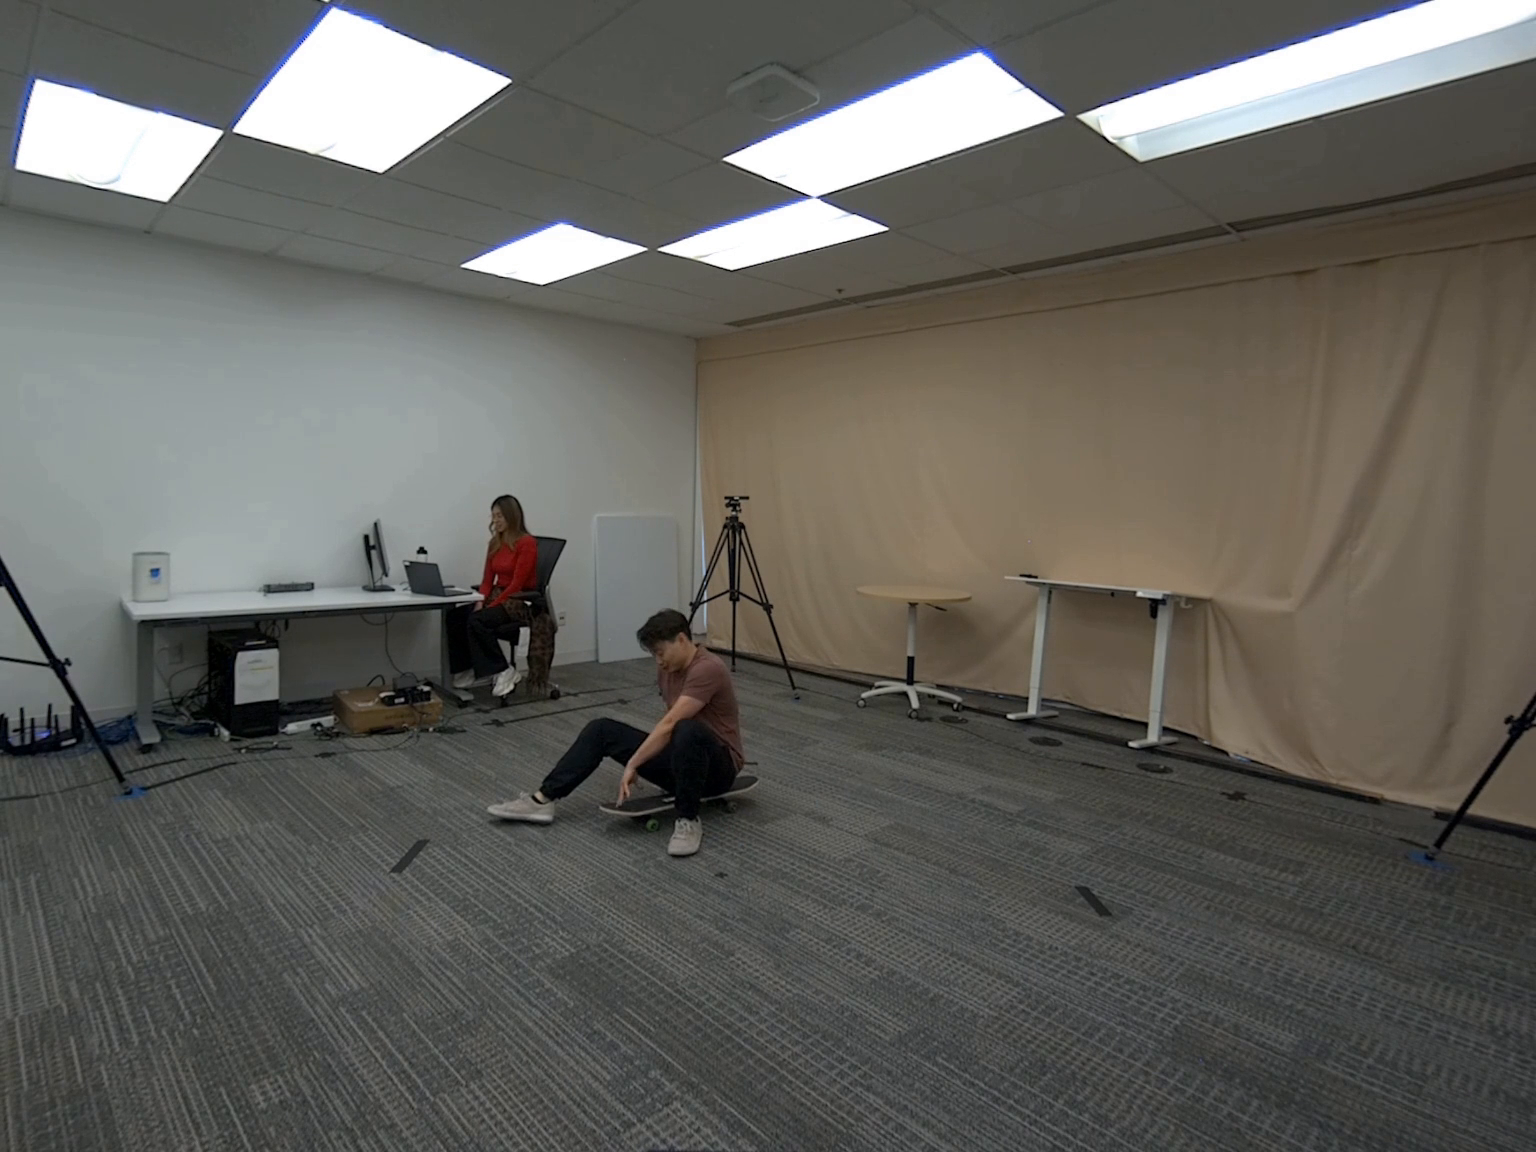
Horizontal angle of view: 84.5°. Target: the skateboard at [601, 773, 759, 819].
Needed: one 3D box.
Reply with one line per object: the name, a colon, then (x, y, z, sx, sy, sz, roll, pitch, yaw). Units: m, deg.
skateboard: (-0.406, 1.006, 3.687, 0.767, 0.110, 0.198, -1, 0, -38)
